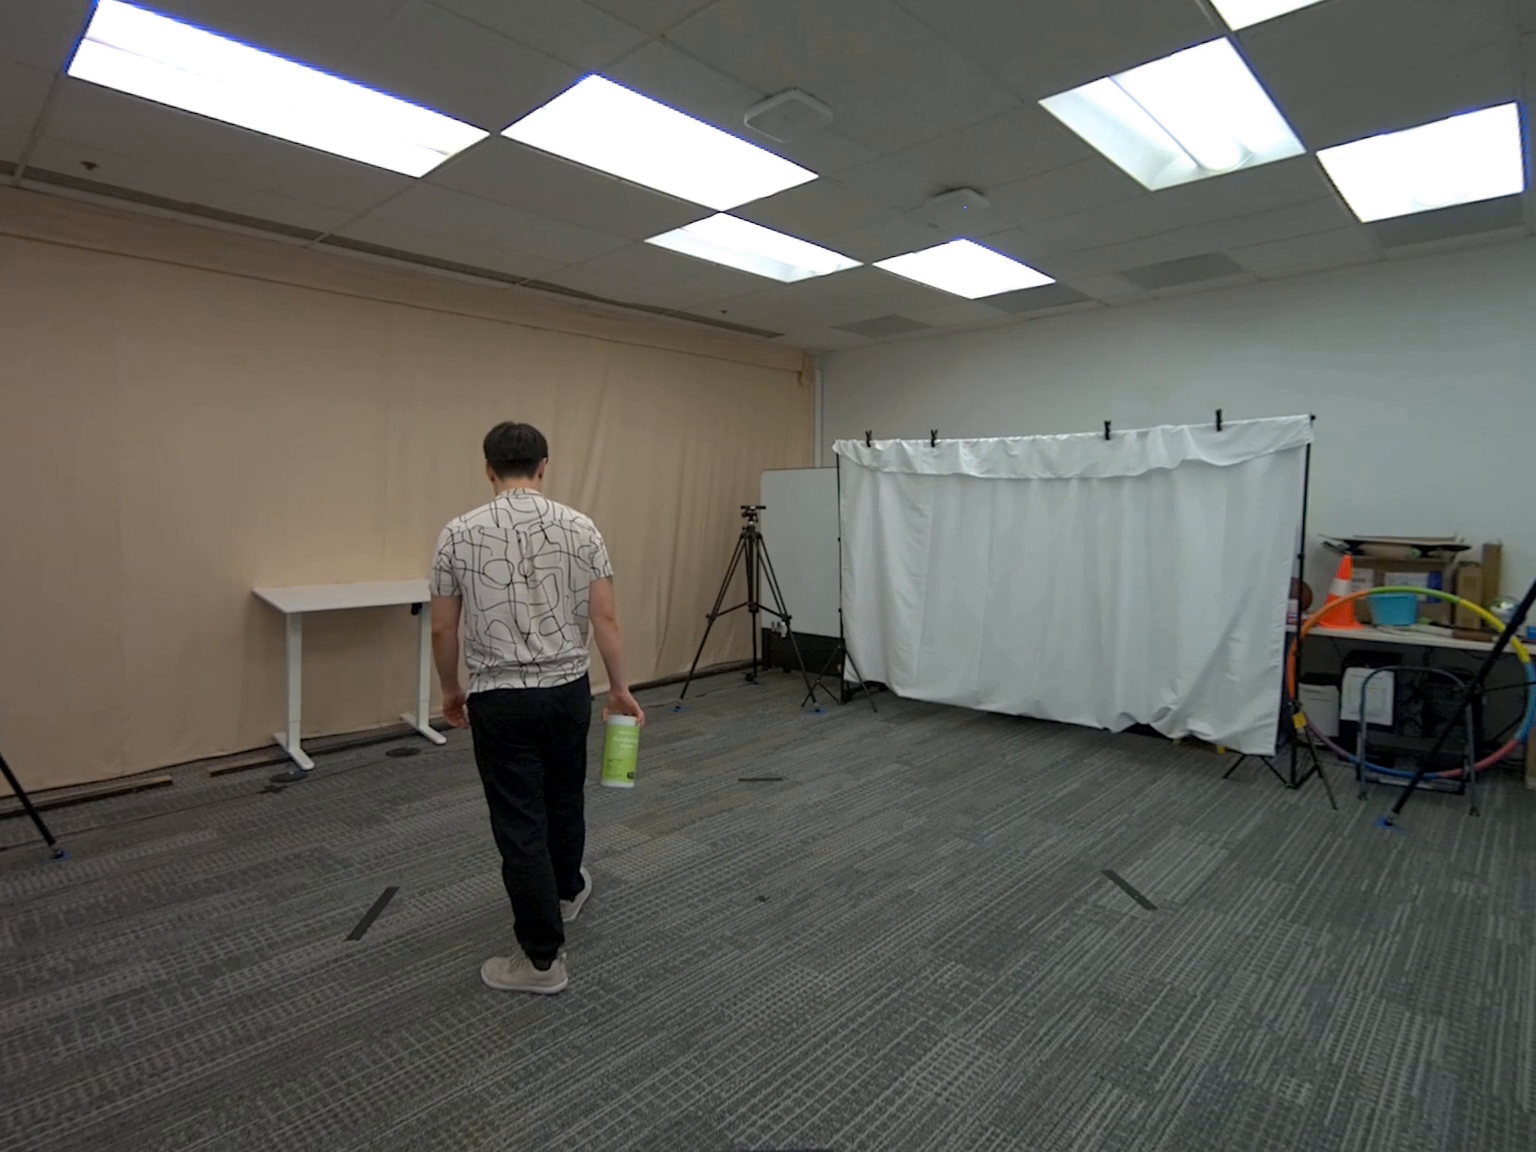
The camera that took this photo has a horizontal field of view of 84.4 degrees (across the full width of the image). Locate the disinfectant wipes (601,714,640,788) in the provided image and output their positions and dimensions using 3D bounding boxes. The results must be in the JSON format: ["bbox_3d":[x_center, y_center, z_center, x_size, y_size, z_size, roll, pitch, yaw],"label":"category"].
[{"bbox_3d":[-0.463,0.548,2.603,0.118,0.219,0.117,4,-11,-1],"label":"disinfectant wipes"}]
